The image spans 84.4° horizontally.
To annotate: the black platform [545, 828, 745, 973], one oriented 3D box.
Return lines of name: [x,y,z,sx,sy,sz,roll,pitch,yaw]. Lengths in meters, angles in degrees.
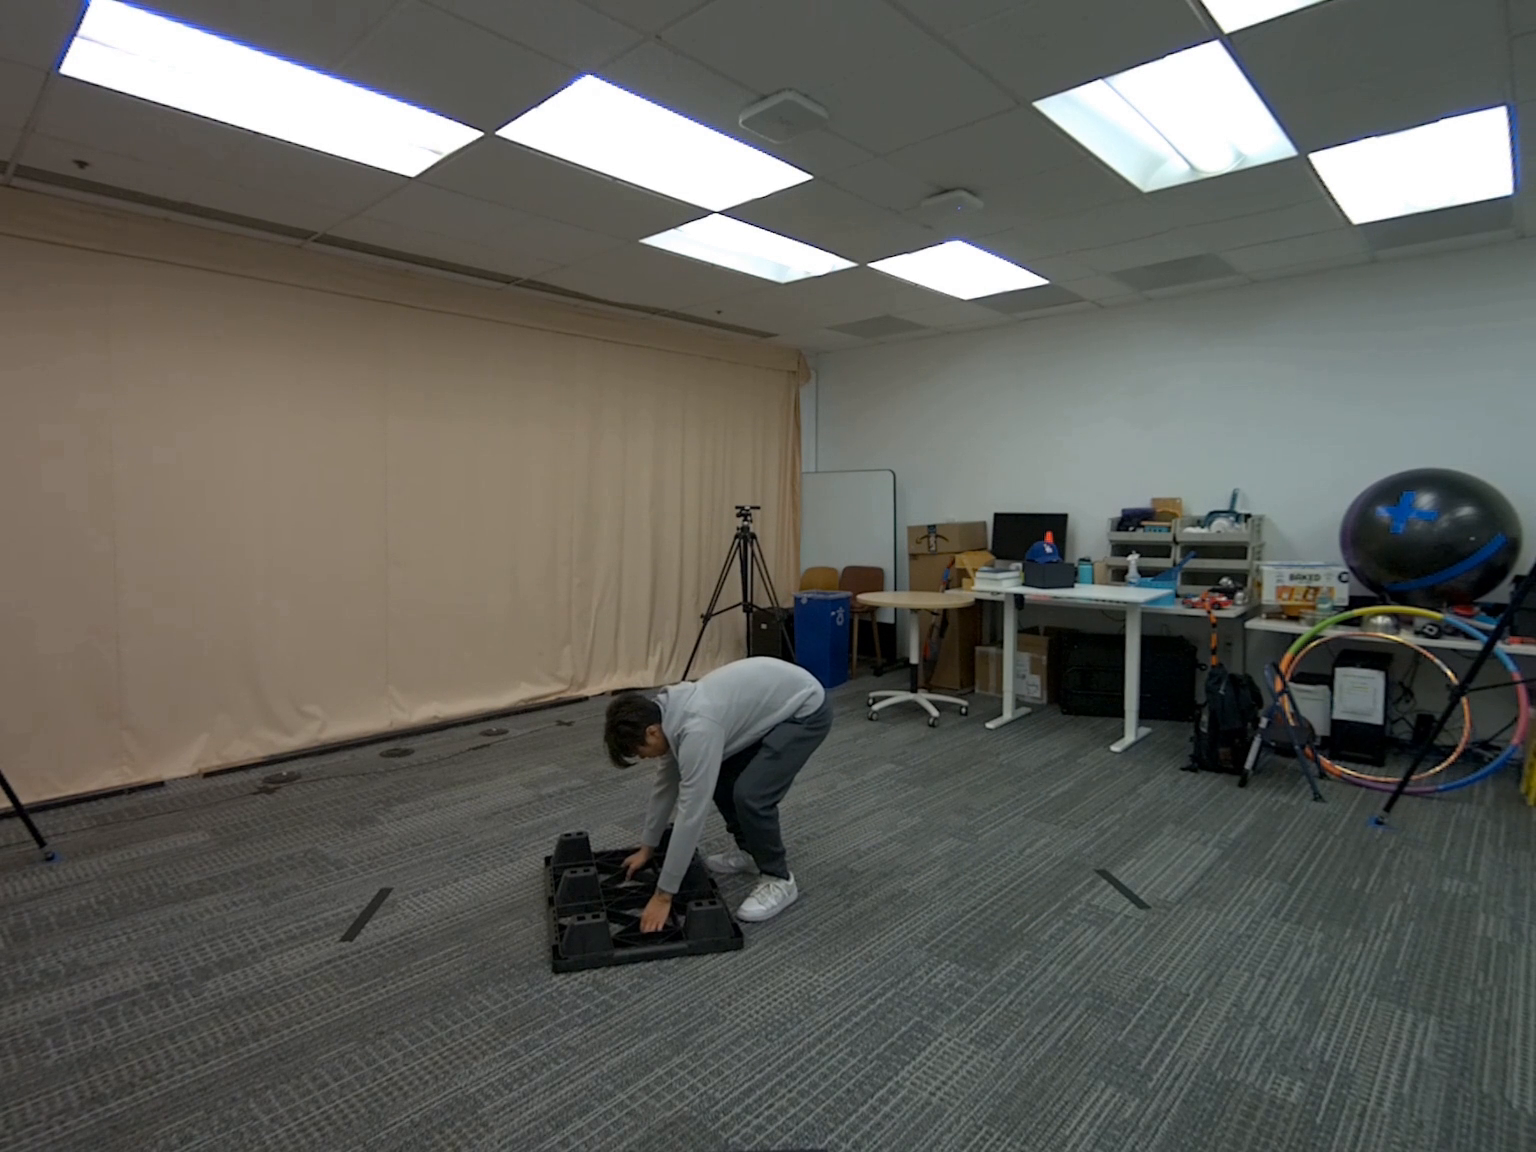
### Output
black platform: [-0.470,1.082,2.953,0.596,0.143,0.820,-2,5,-16]
